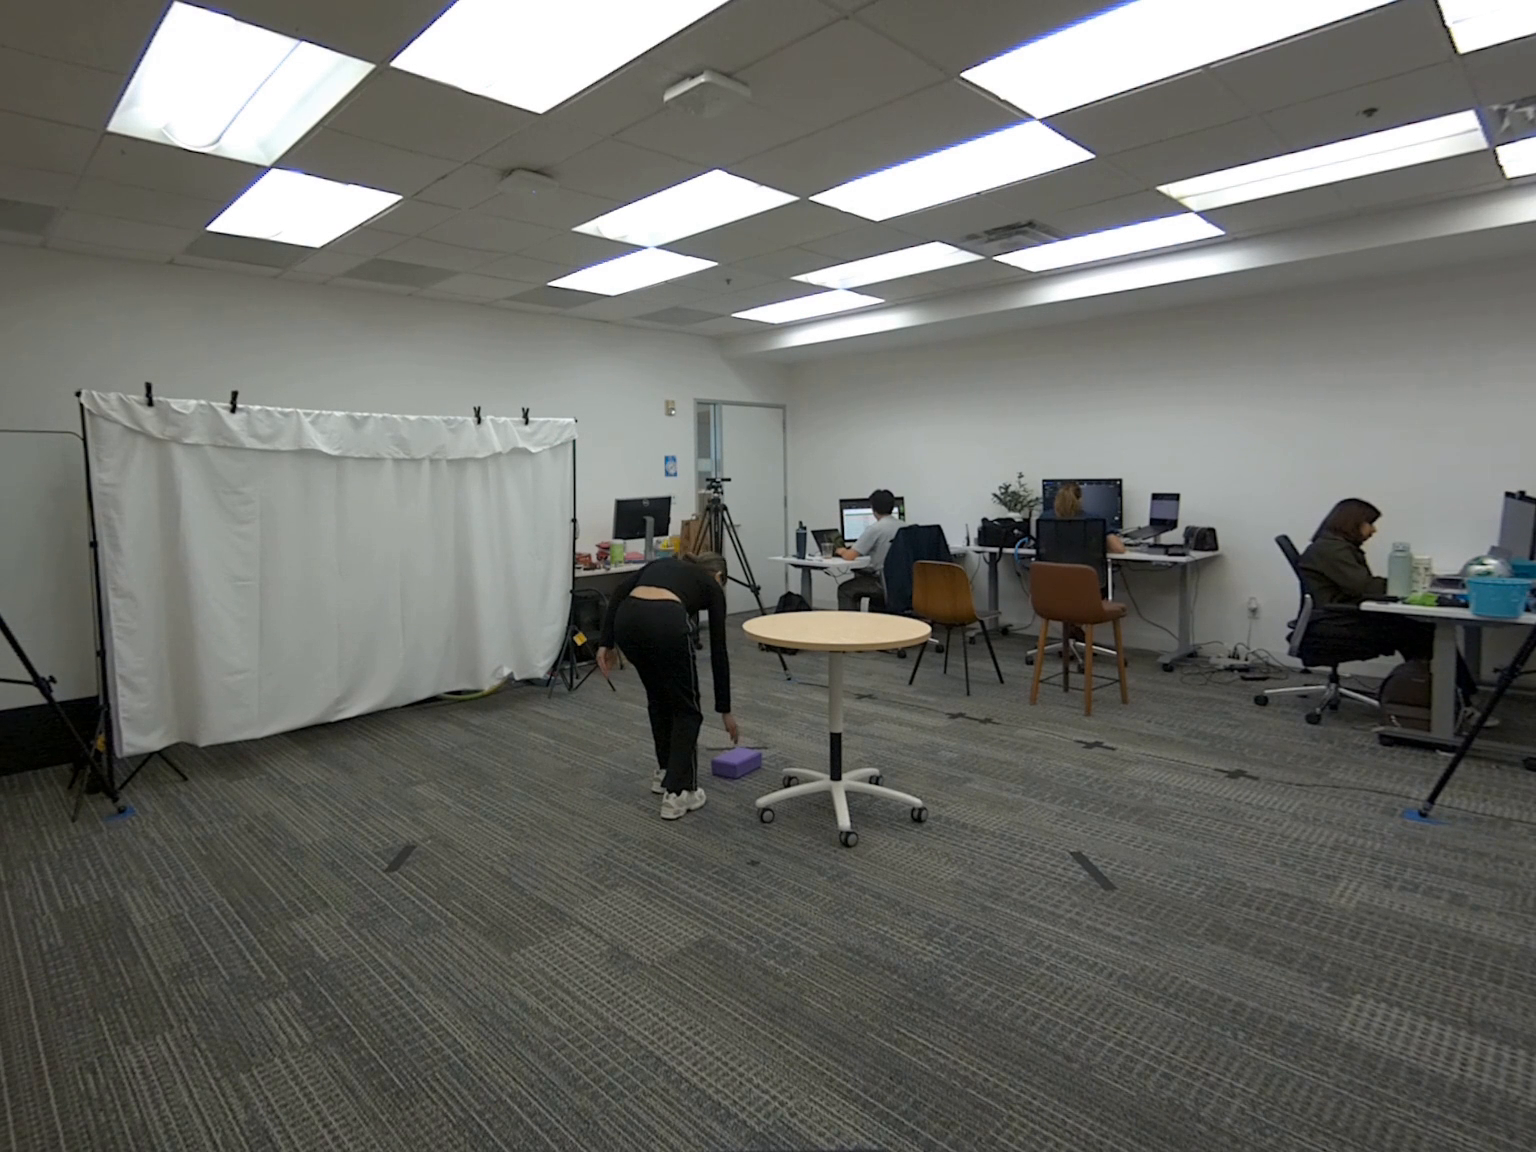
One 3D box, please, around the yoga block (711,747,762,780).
[{"bbox_3d":[-0.148,0.893,4.096,0.153,0.076,0.224,2,6,34],"label":"yoga block"}]
